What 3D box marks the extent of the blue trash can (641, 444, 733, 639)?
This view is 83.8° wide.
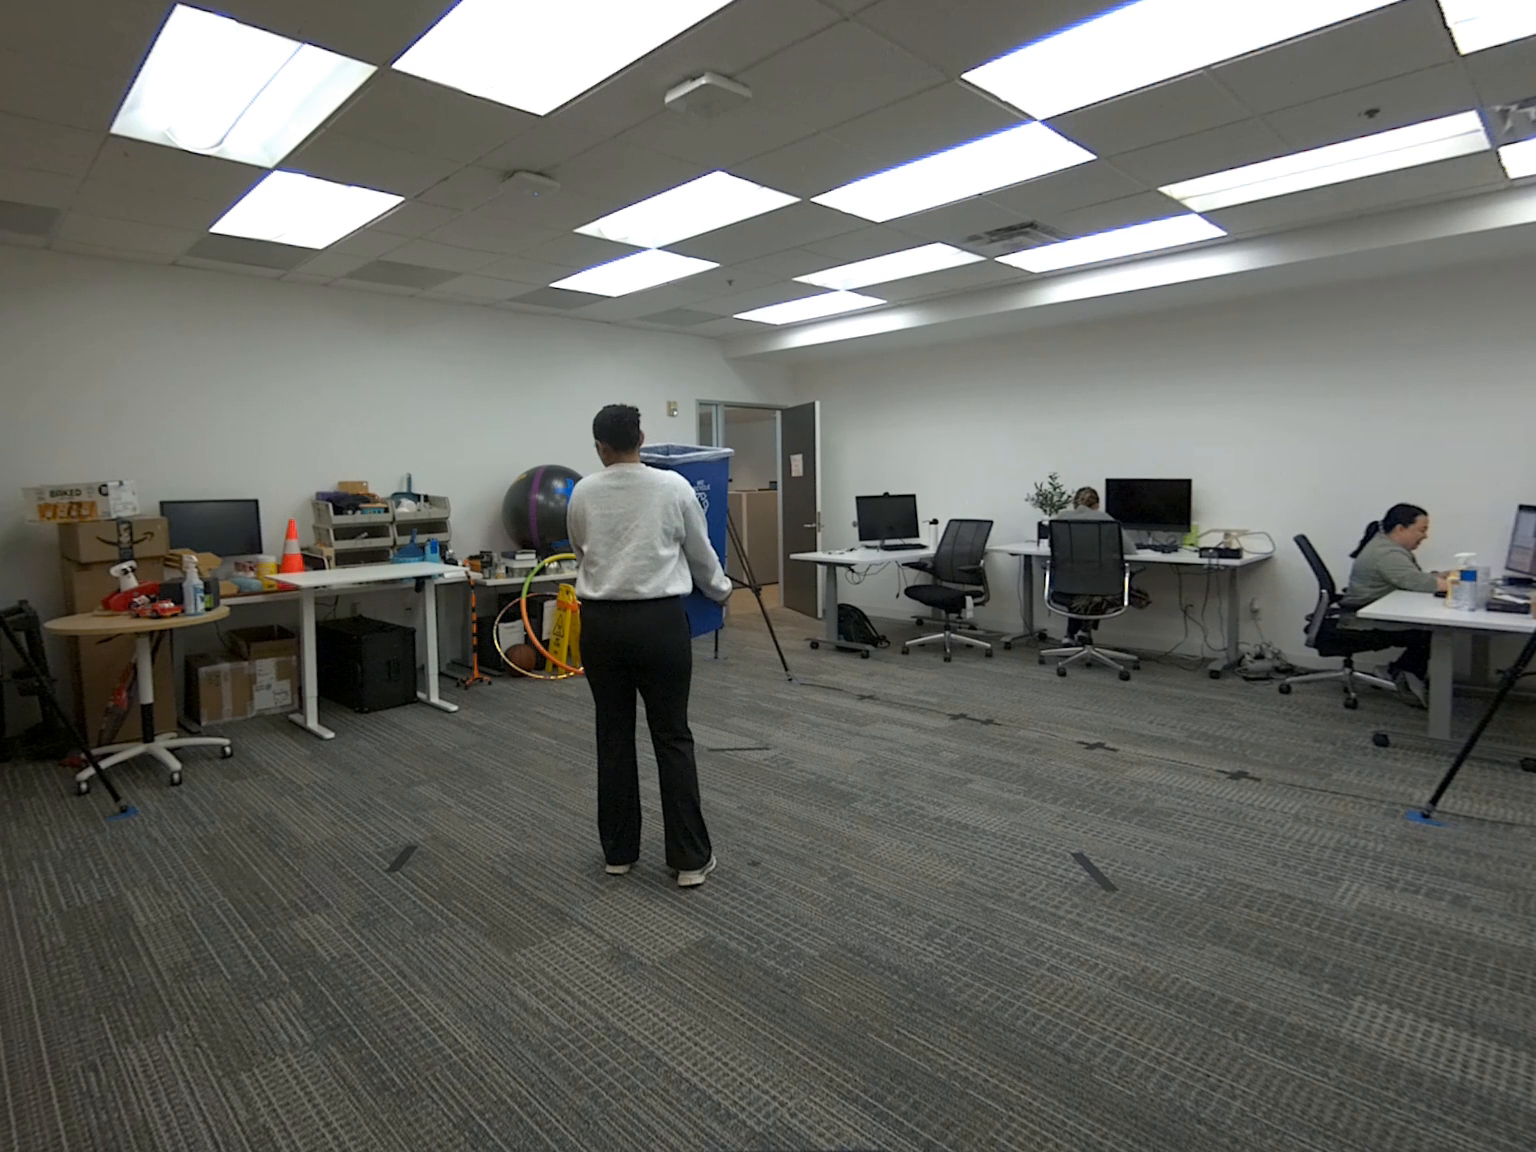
[{"bbox_3d":[-0.366,-0.138,3.331,0.386,0.705,0.370,11,16,39],"label":"blue trash can"}]
